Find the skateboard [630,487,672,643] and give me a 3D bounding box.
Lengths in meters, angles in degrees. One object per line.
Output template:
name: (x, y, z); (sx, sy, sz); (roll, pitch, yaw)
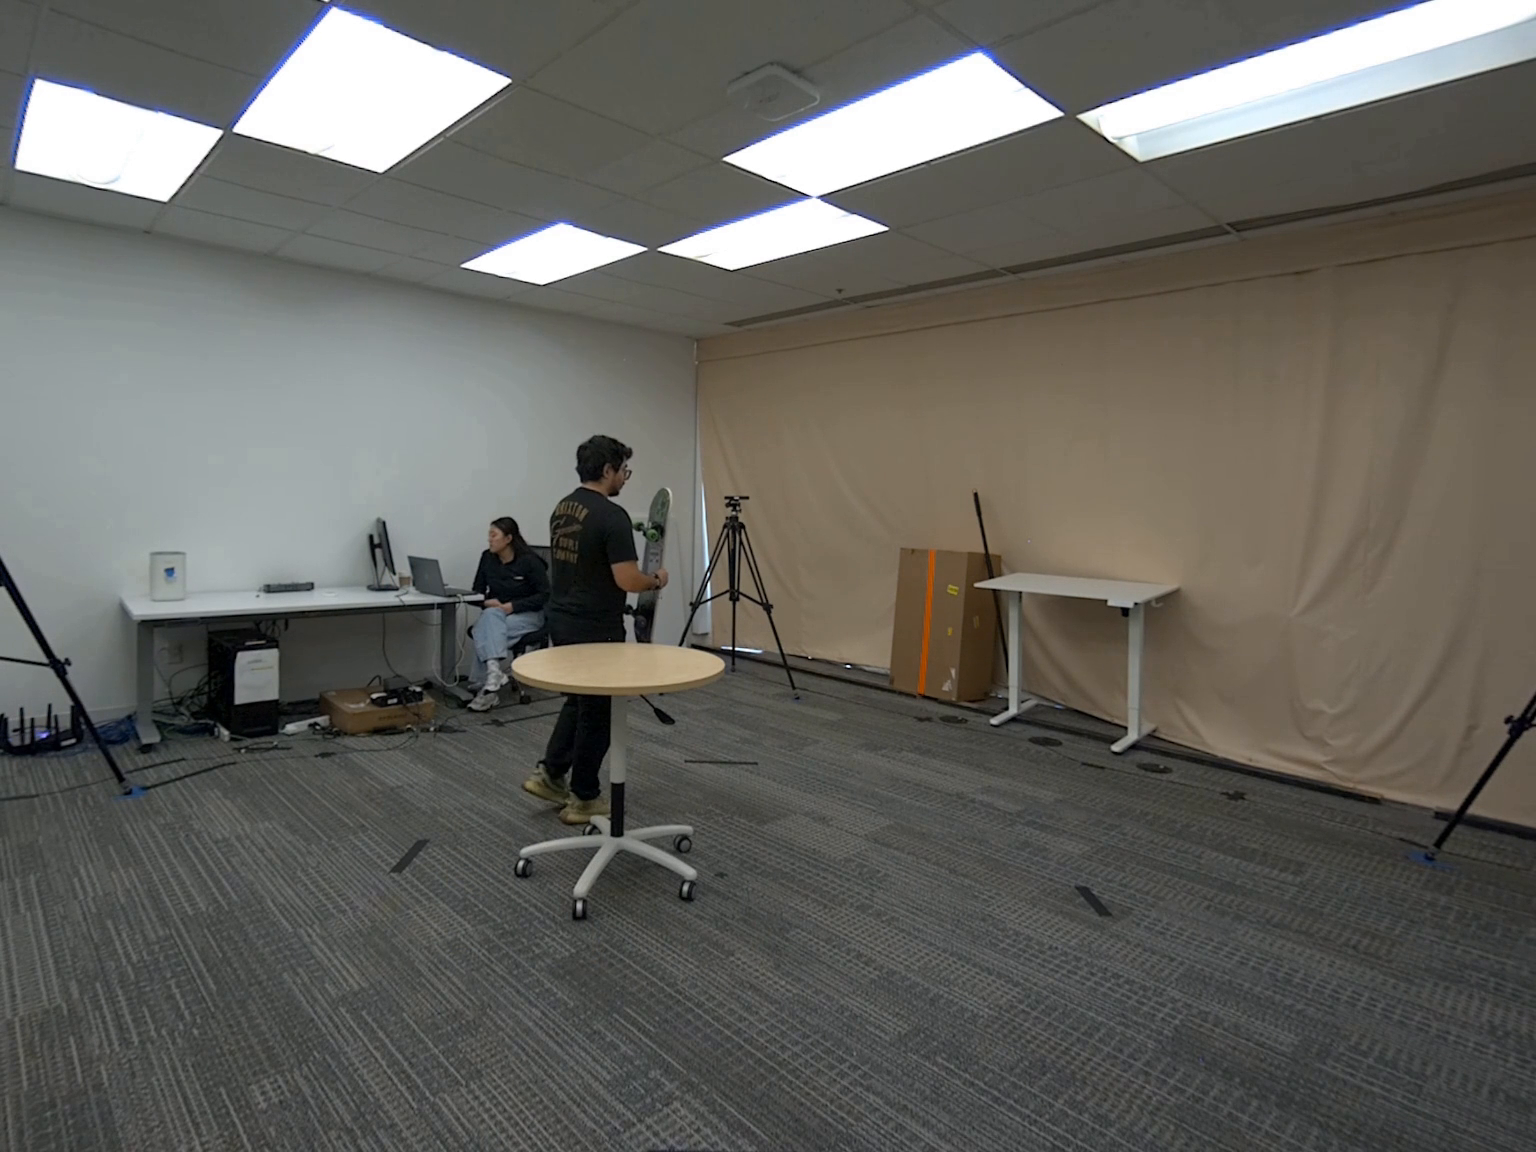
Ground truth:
skateboard: (-0.566, -0.012, 3.780); (0.108, 0.779, 0.199); (1, 16, -30)
